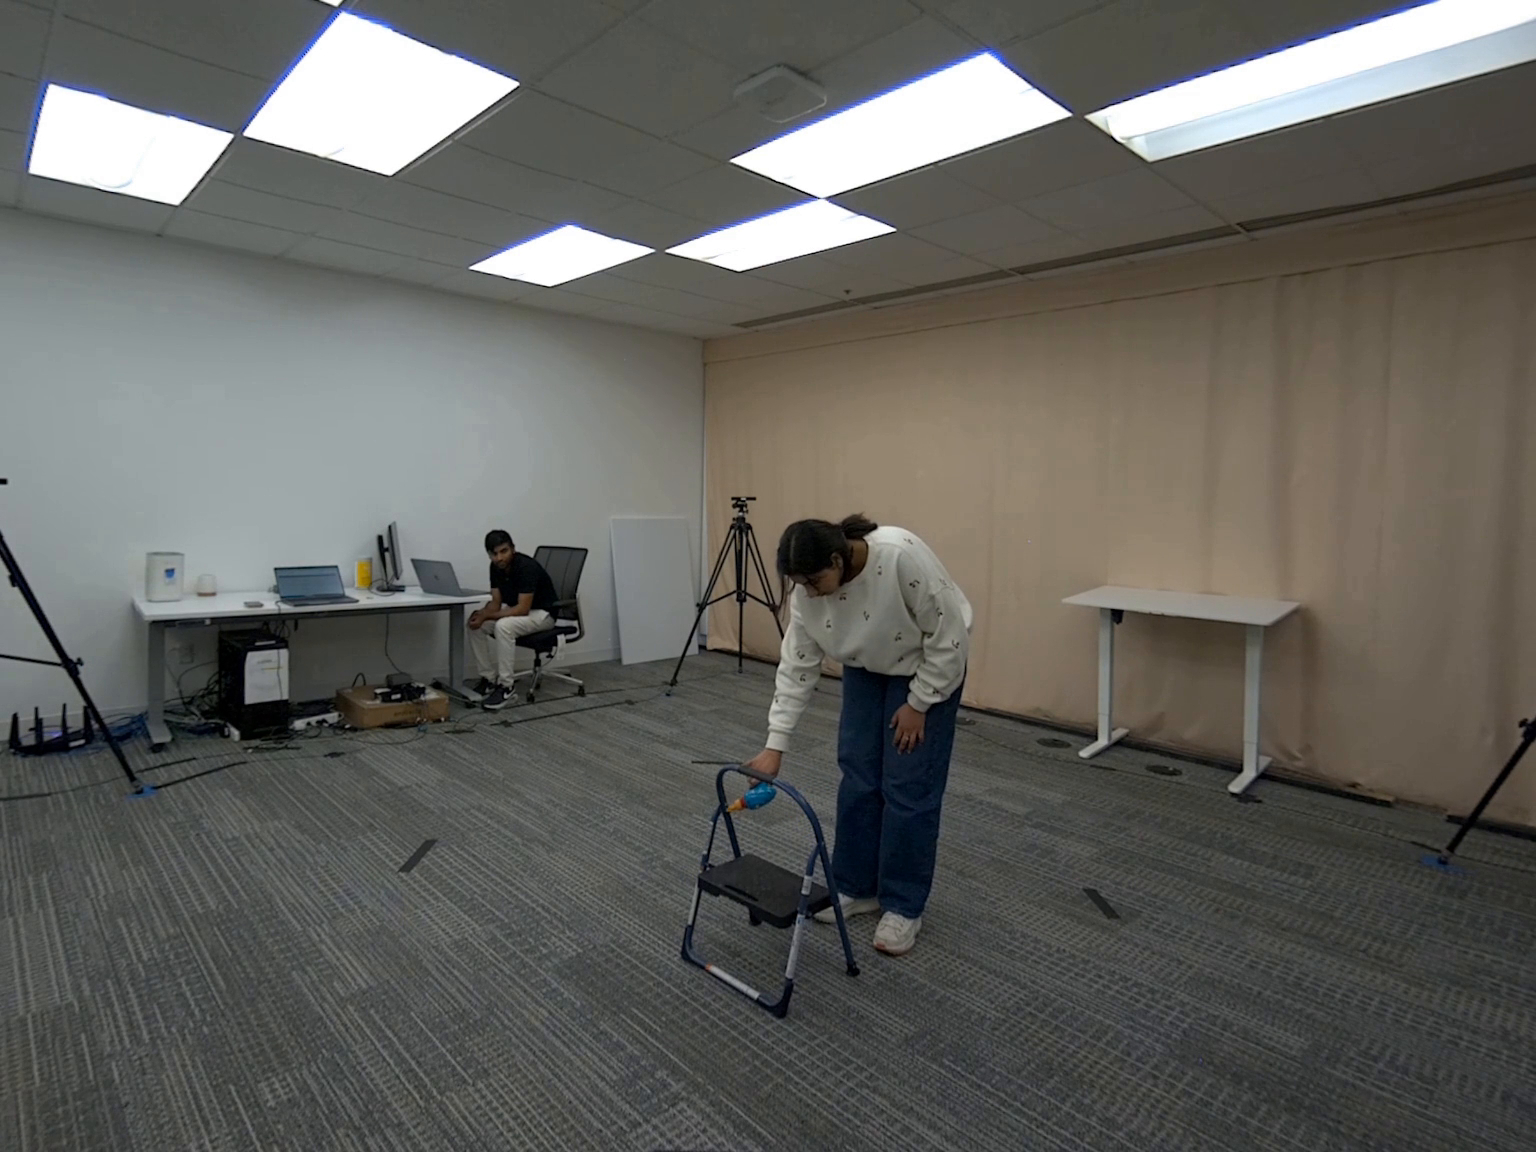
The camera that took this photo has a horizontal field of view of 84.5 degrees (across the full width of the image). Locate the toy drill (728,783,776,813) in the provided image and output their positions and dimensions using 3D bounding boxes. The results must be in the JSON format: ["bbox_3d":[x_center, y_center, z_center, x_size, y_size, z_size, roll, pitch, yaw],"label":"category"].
[{"bbox_3d":[-0.069,0.674,2.624,0.170,0.059,0.149,-24,30,9],"label":"toy drill"}]
